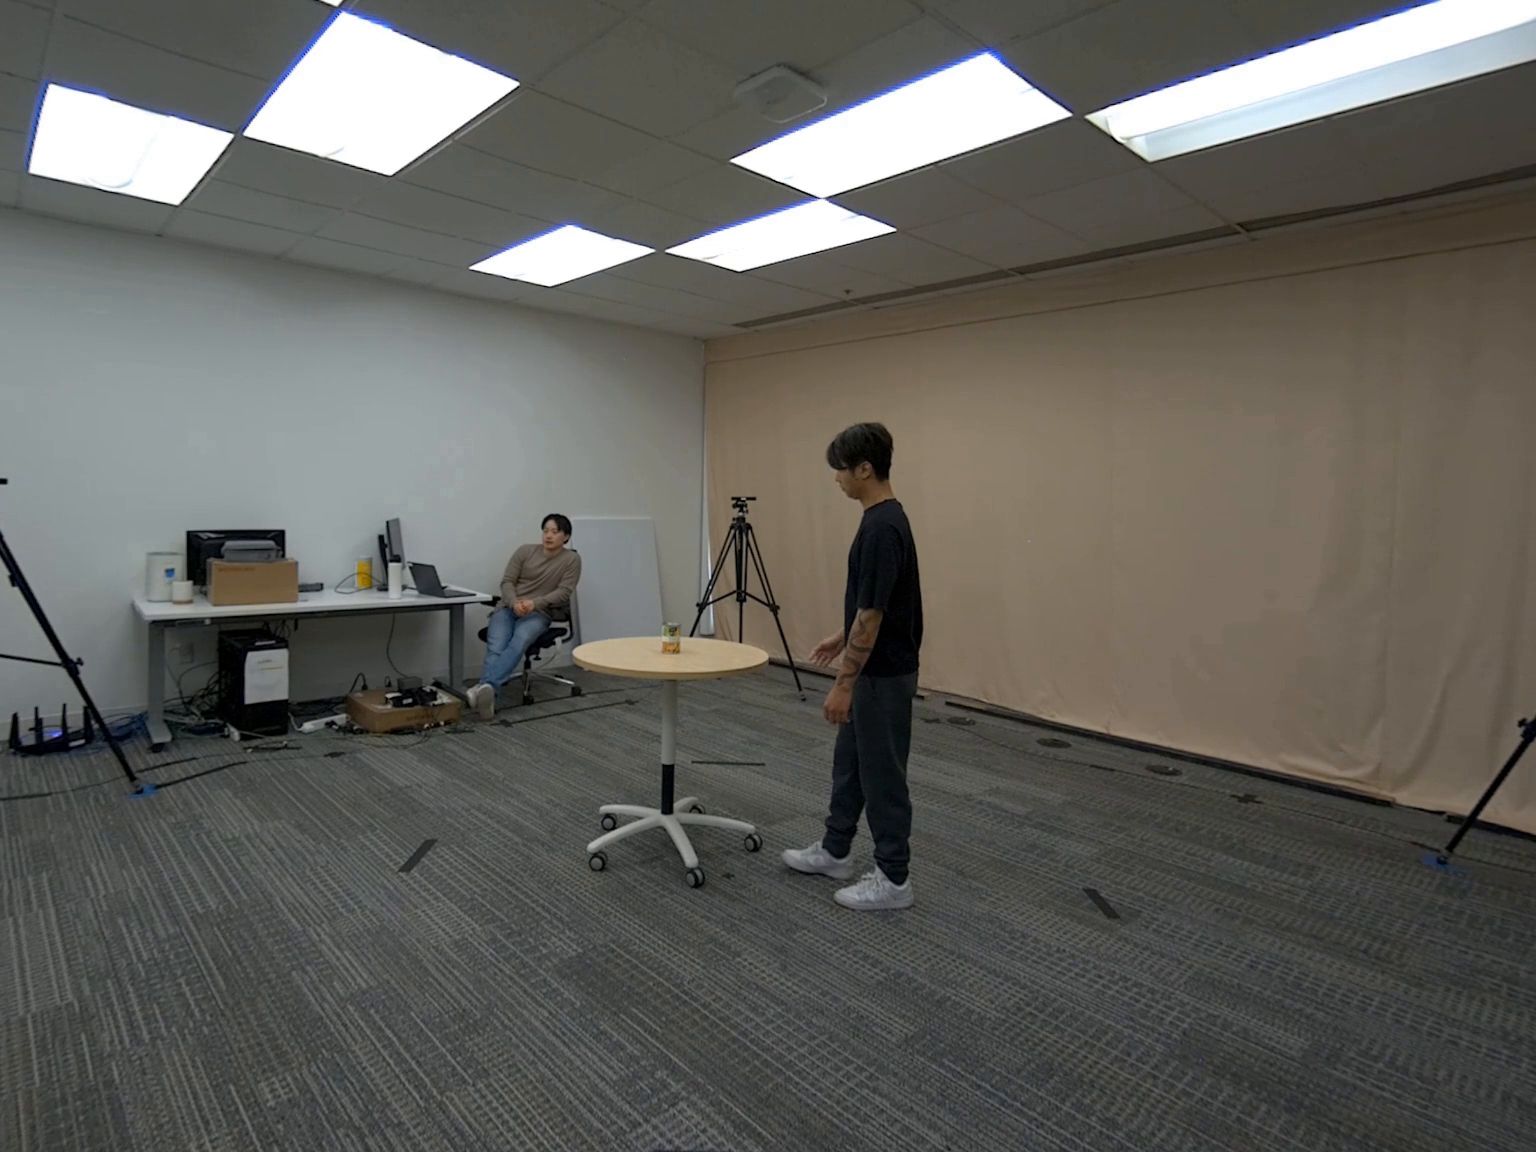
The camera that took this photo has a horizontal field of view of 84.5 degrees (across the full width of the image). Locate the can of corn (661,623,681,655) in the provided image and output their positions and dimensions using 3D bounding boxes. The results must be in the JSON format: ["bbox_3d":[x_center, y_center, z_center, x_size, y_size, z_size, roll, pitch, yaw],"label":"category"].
[{"bbox_3d":[-0.382,0.243,3.300,0.074,0.111,0.074,2,4,-2],"label":"can of corn"}]
